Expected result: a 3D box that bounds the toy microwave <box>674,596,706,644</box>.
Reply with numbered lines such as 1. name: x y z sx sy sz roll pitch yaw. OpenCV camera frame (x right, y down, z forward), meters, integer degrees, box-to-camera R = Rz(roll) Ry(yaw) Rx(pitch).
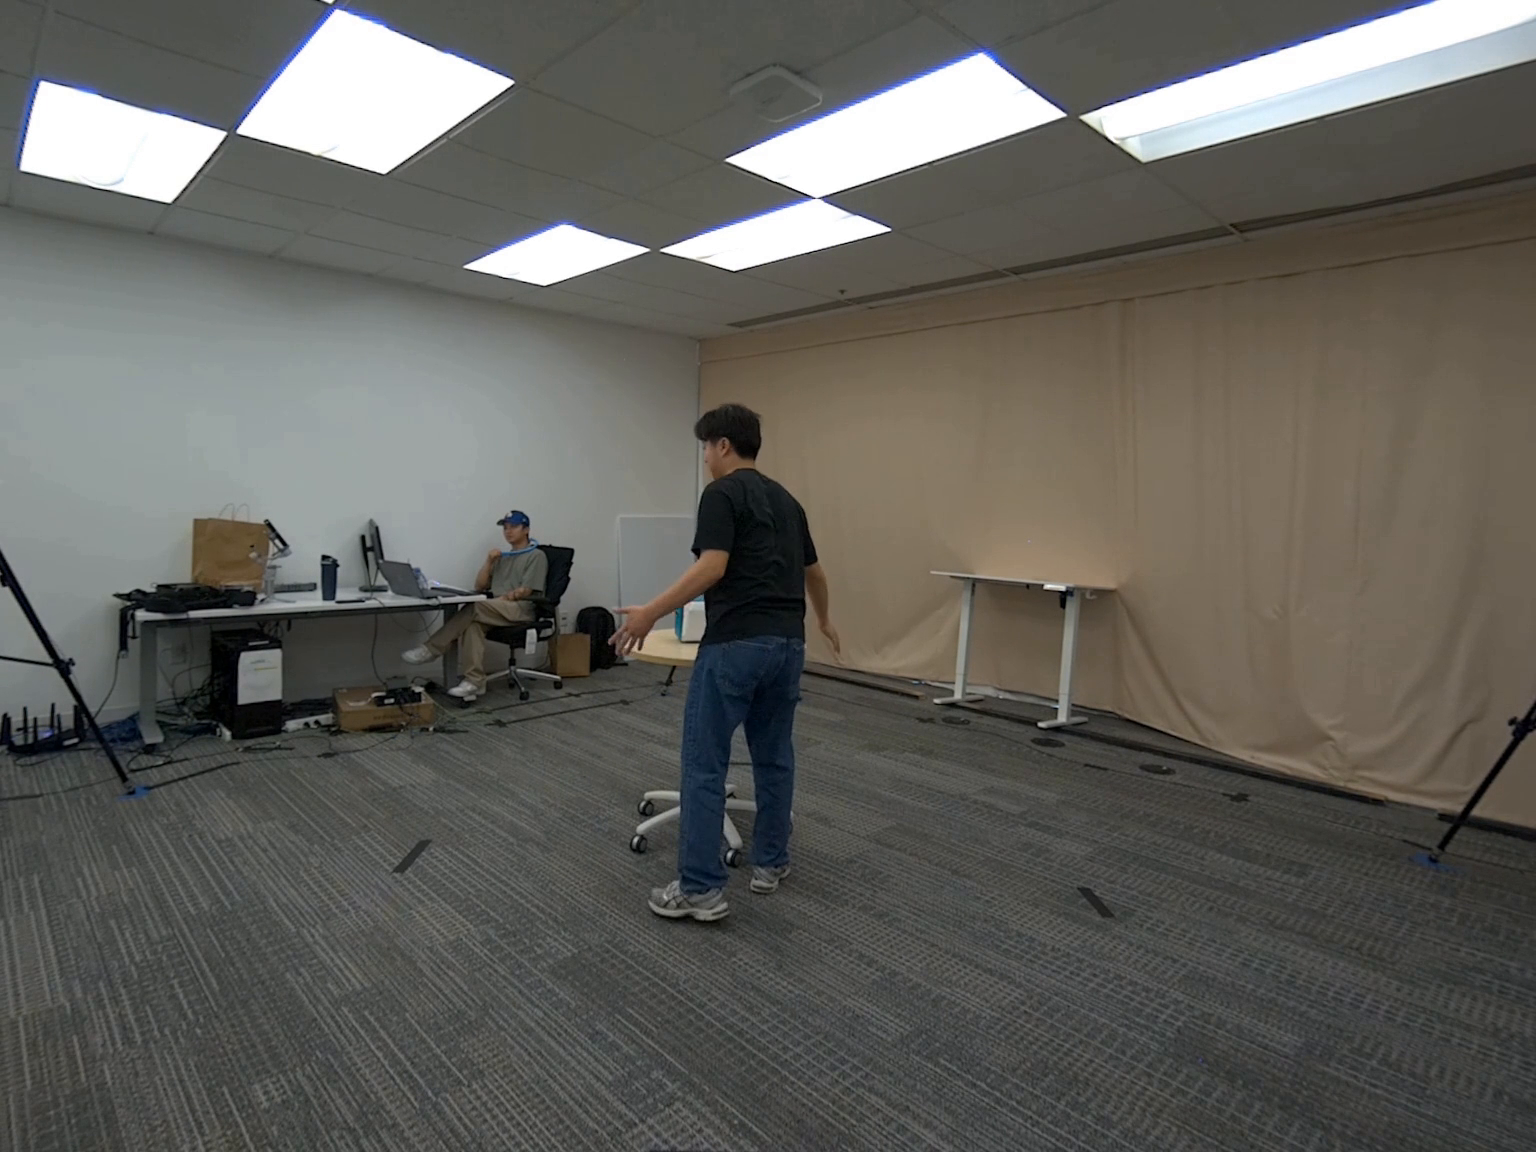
1. toy microwave: -0.244 0.183 3.515 0.283 0.183 0.154 0 6 -12
